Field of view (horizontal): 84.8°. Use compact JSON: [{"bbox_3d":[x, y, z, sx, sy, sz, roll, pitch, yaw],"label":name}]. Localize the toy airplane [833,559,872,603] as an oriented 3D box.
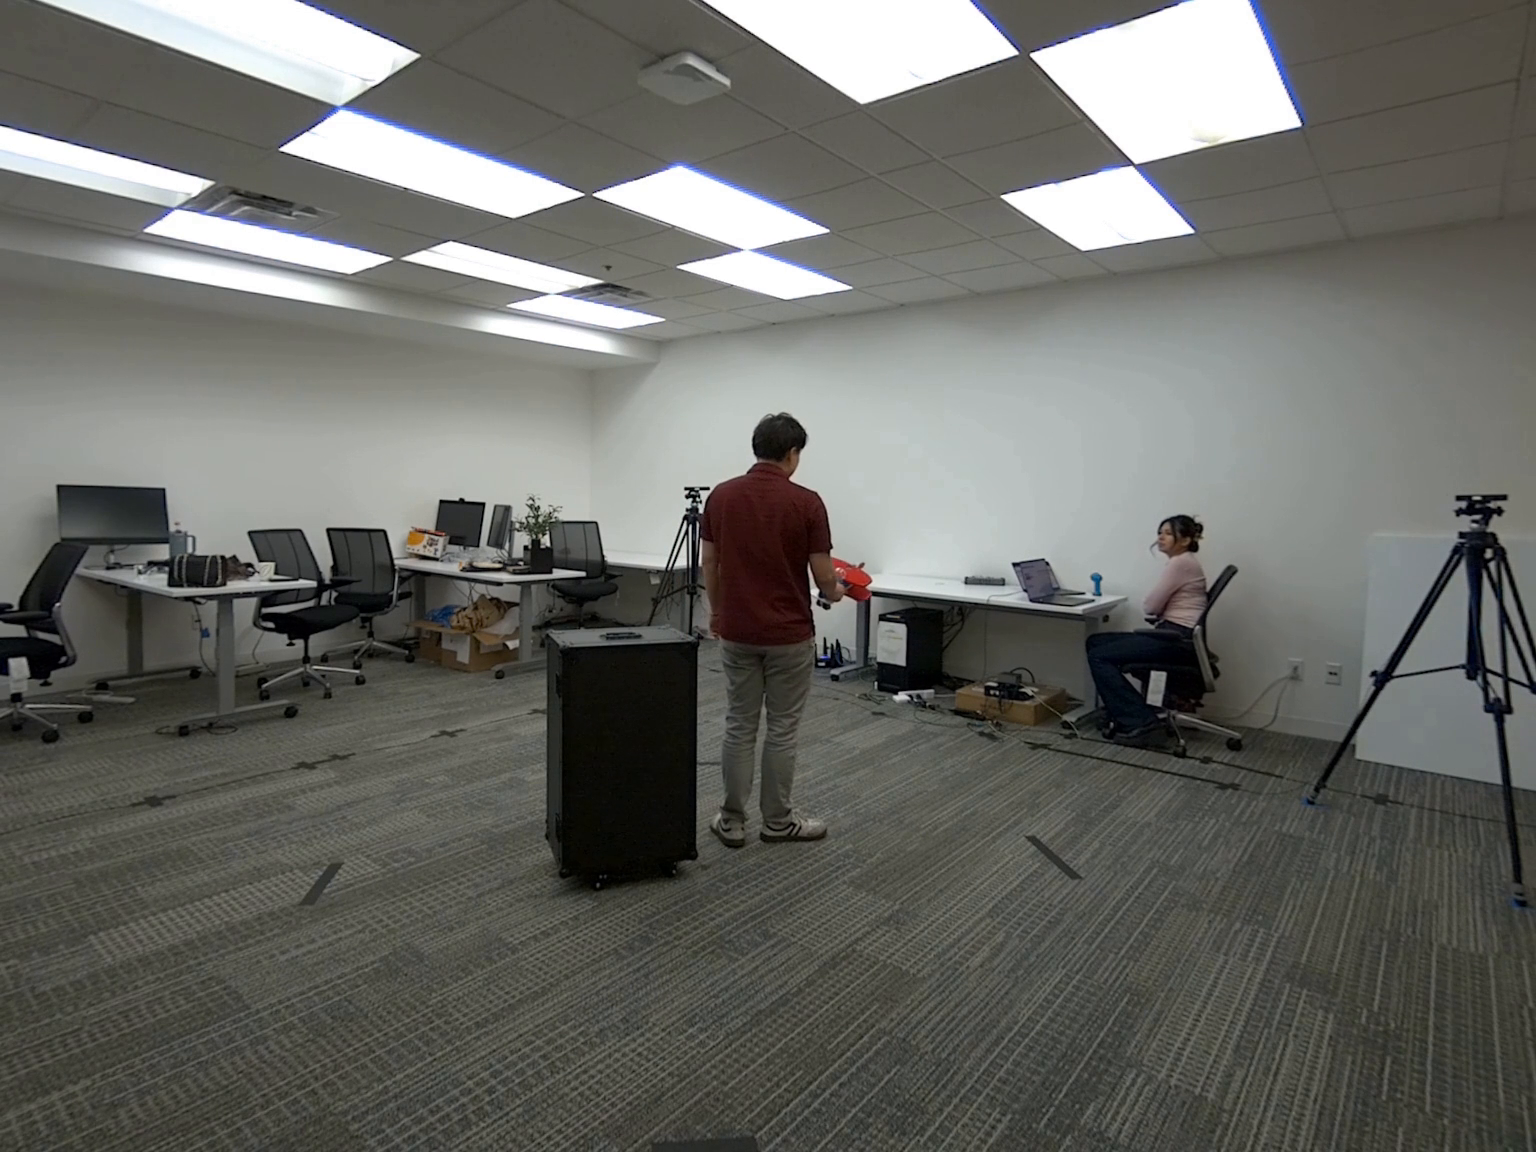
[{"bbox_3d":[0.306,0.043,3.597,0.255,0.153,0.260,13,26,12],"label":"toy airplane"}]
